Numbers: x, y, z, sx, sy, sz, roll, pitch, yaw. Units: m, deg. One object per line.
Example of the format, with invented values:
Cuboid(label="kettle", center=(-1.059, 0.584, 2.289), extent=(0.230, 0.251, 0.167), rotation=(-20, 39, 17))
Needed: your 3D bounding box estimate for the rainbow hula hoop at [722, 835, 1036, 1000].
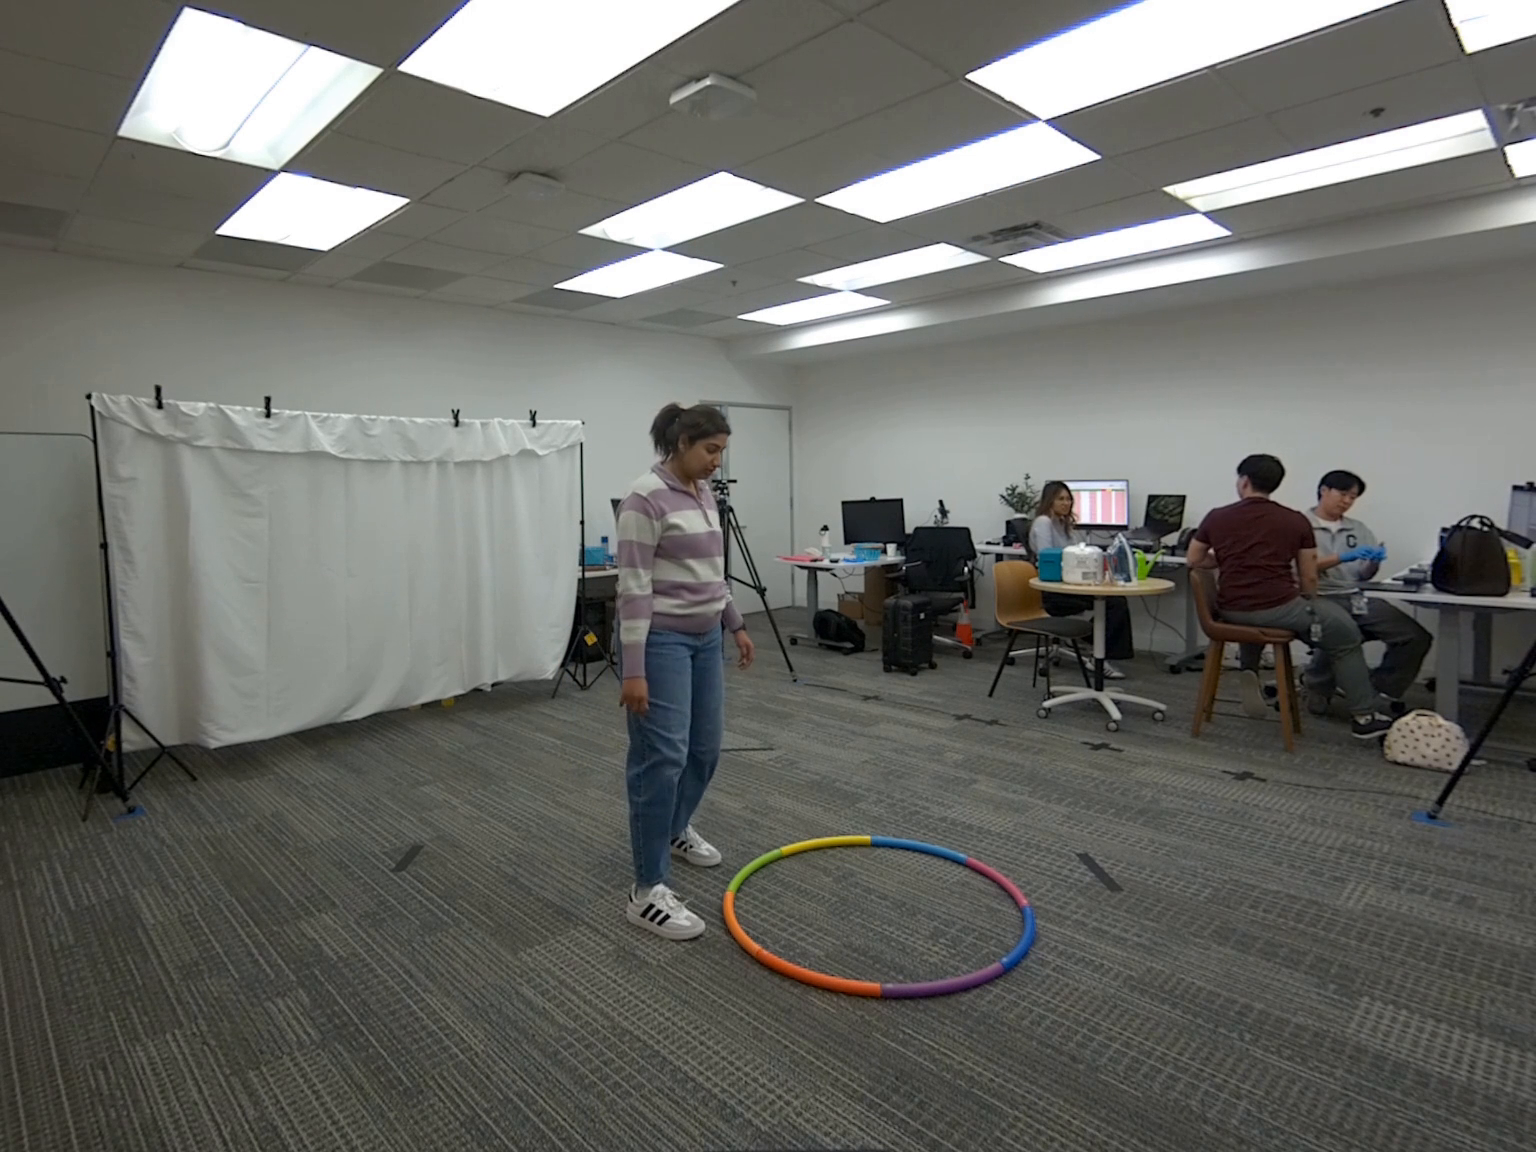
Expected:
Cuboid(label="rainbow hula hoop", center=(0.344, 1.050, 2.774), extent=(0.978, 0.035, 0.984), rotation=(-2, 7, -2))
